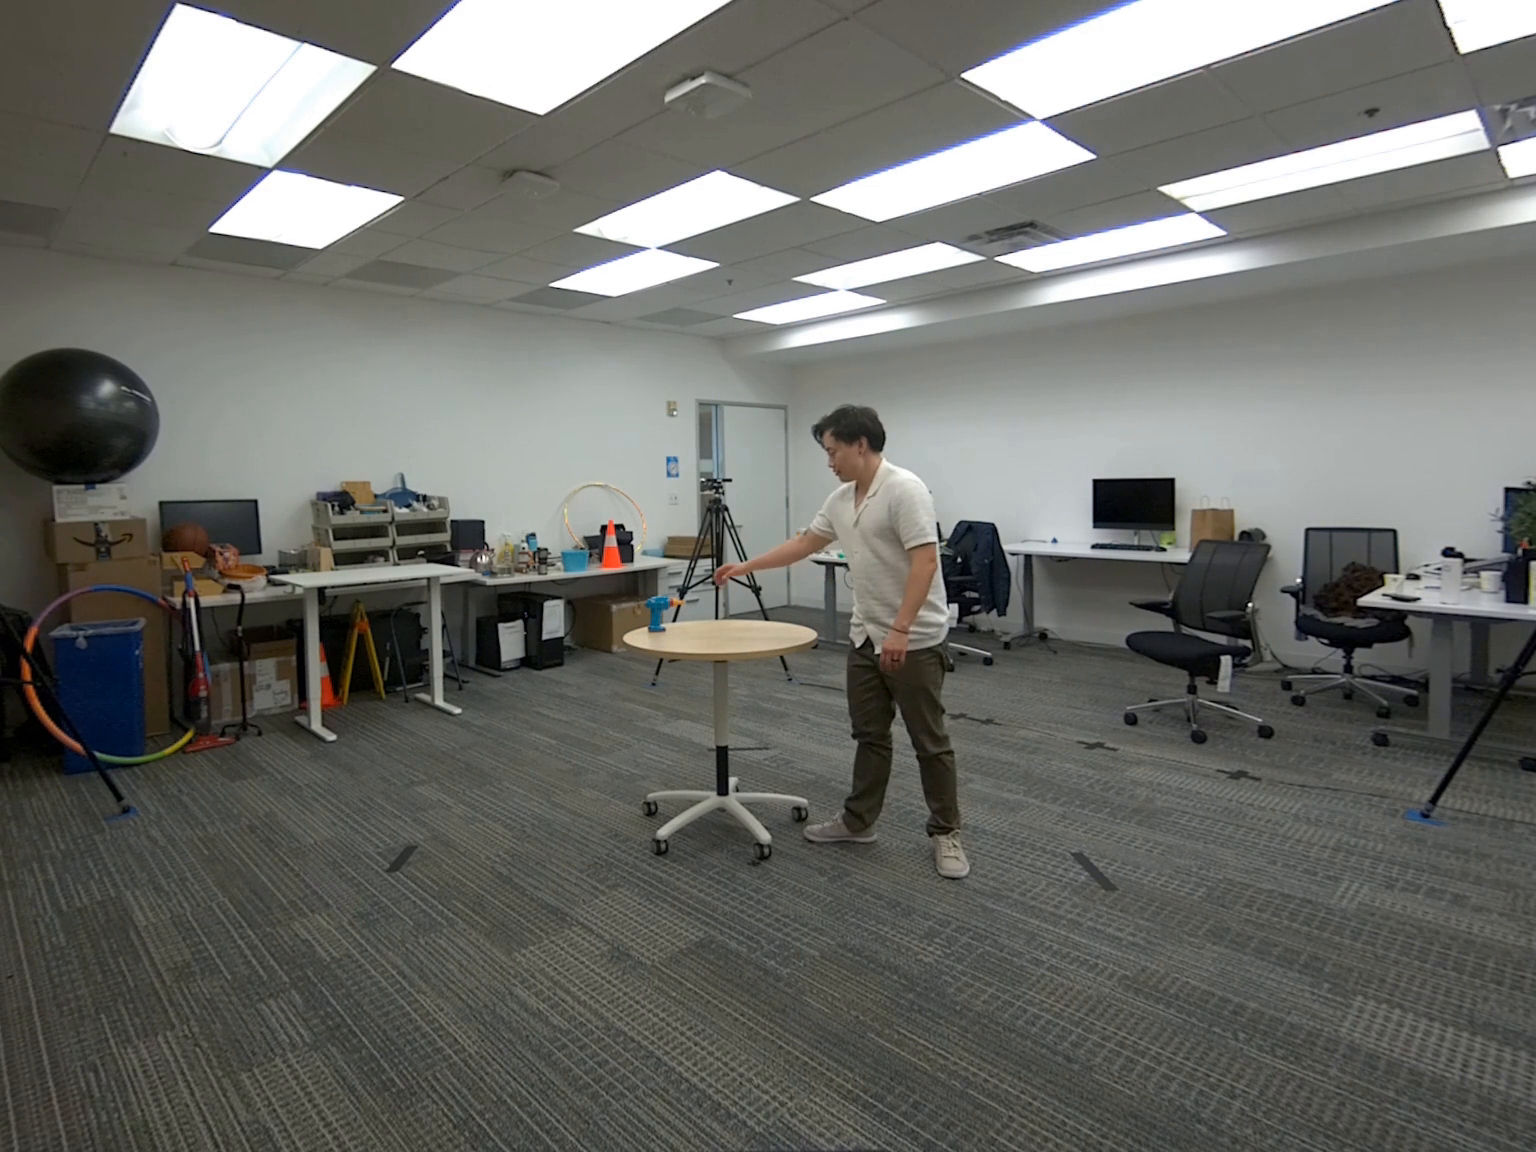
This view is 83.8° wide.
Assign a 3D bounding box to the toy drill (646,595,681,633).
[{"bbox_3d":[-0.416,0.149,3.497,0.166,0.145,0.062,-3,6,-23],"label":"toy drill"}]
